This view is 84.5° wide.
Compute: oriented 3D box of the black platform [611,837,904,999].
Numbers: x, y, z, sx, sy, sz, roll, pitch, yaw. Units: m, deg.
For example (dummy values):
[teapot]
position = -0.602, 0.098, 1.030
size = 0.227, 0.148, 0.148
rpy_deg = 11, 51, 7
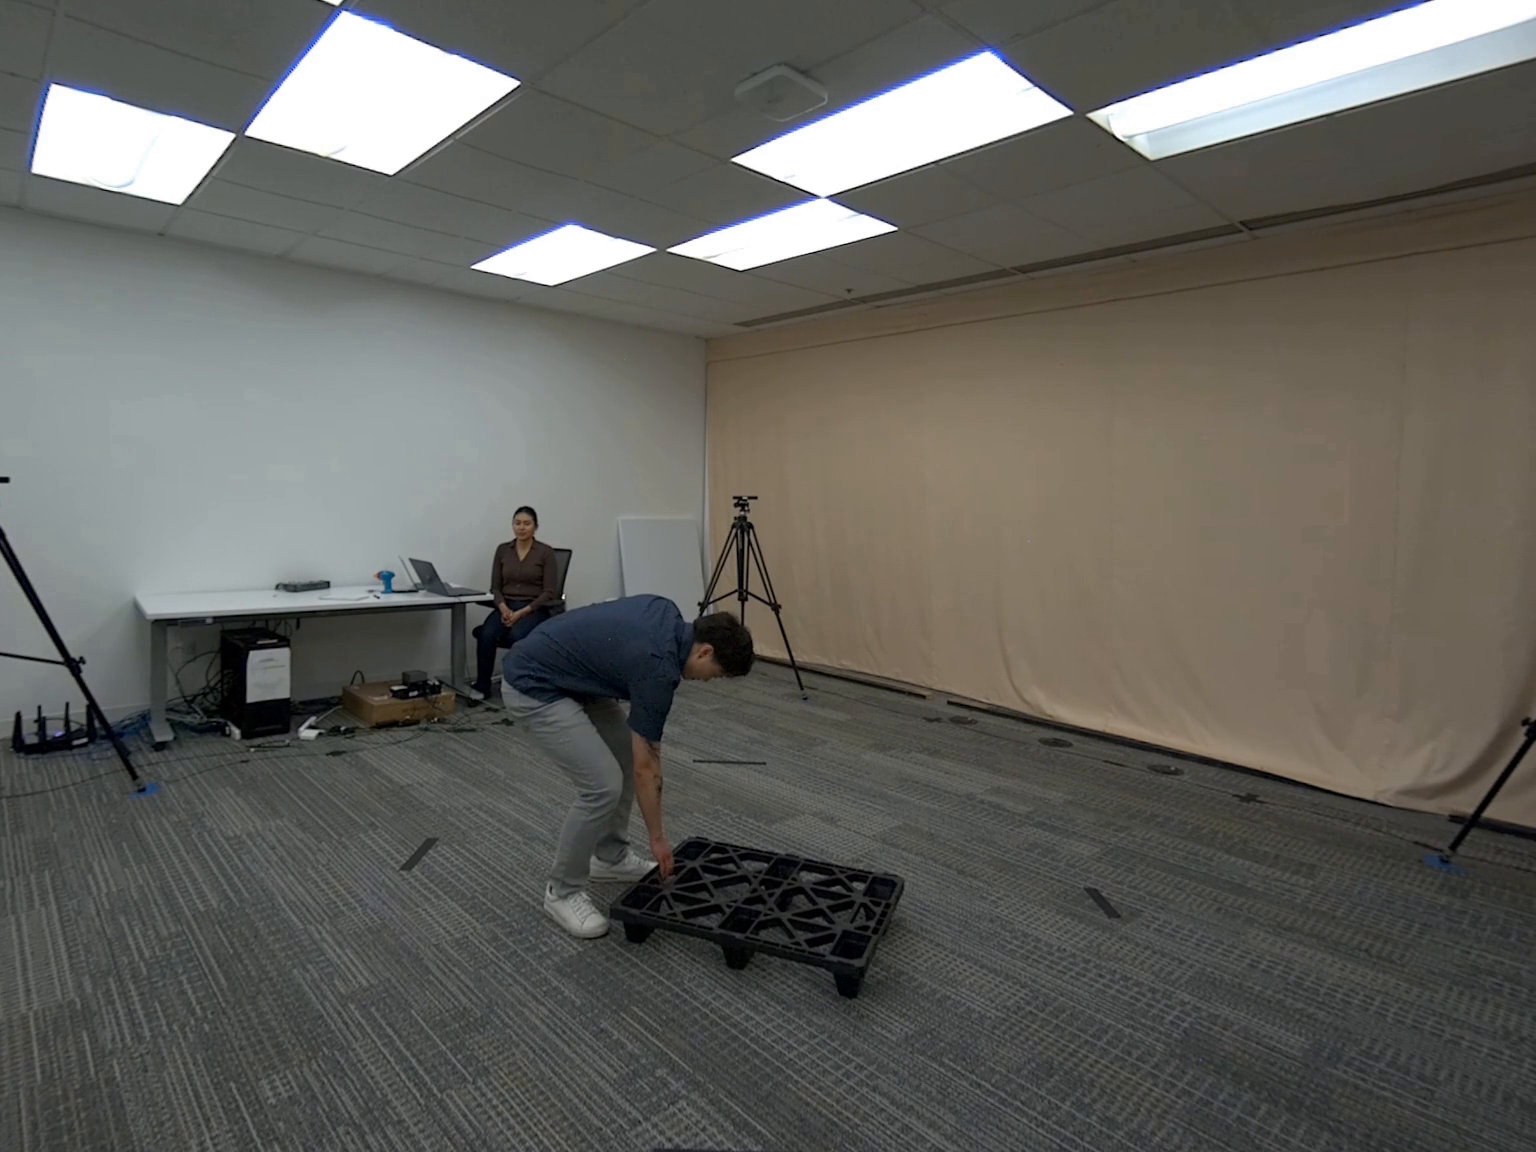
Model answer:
[black platform]
position = -0.021, 1.074, 2.694
size = 0.819, 0.143, 0.597
rpy_deg = 3, 6, 22
